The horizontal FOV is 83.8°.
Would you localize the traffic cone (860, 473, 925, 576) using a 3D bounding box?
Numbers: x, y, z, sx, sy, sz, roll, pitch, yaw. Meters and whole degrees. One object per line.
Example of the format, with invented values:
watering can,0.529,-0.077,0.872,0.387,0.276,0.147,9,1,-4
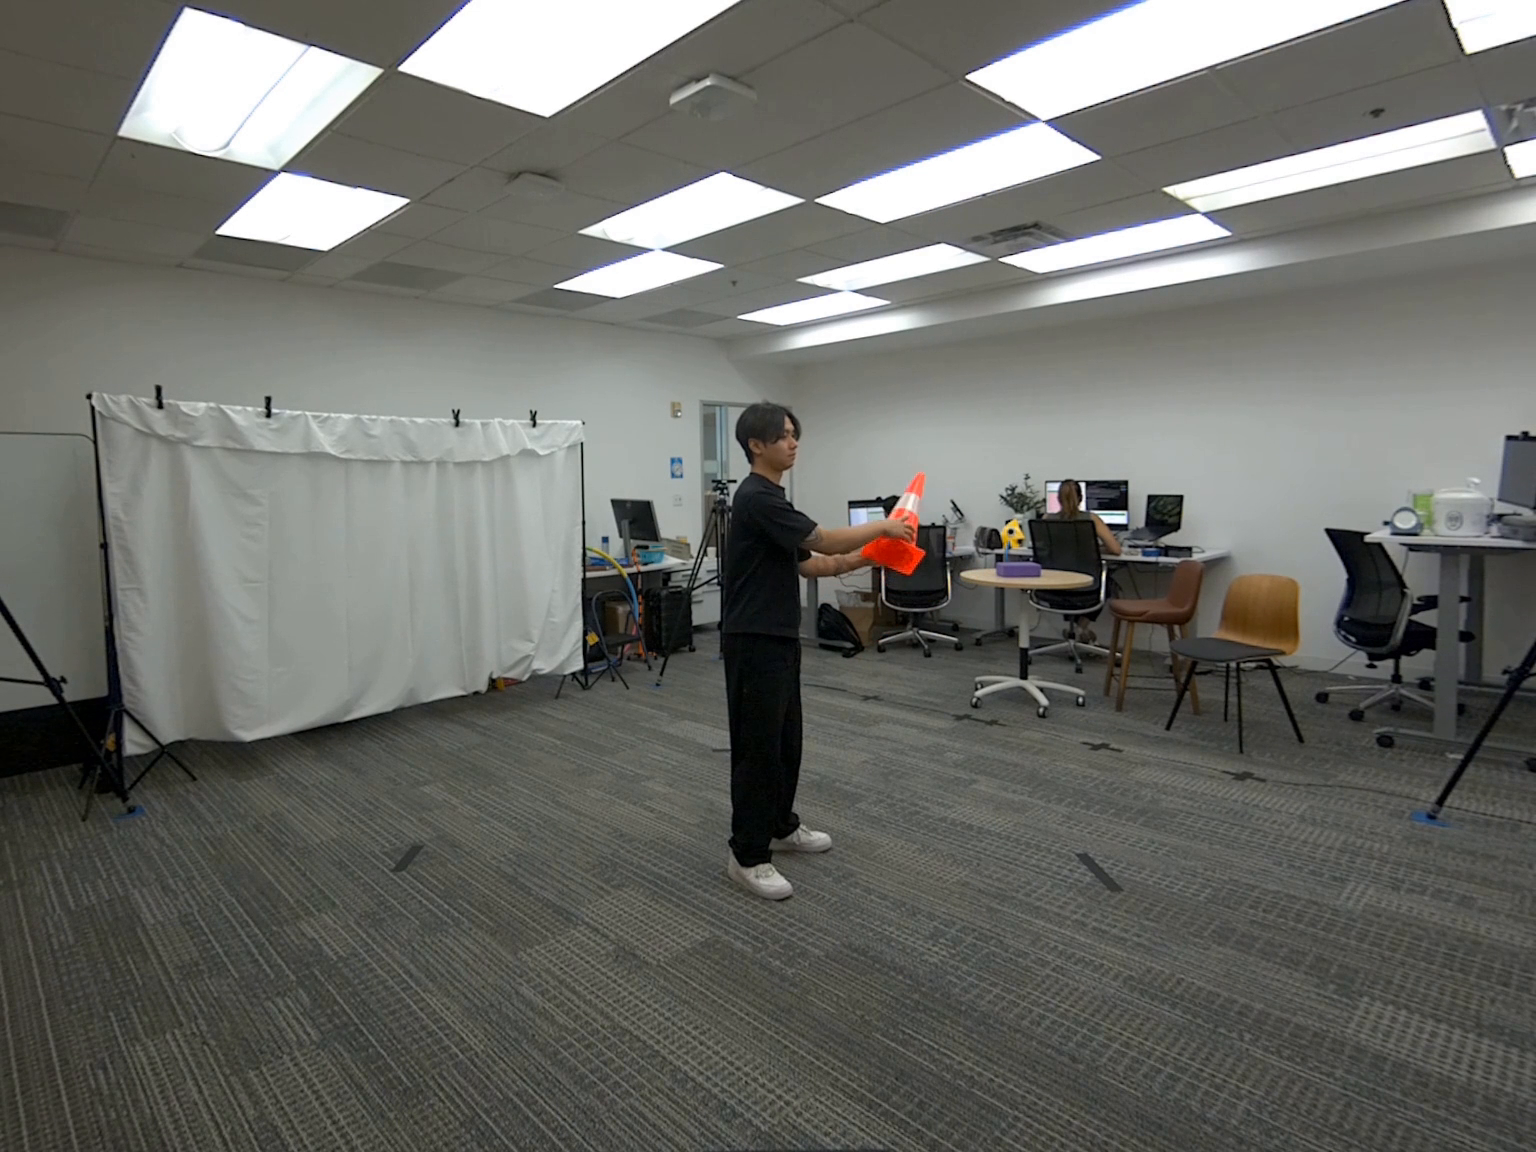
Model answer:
traffic cone,0.513,-0.231,3.168,0.207,0.387,0.199,22,-29,6
